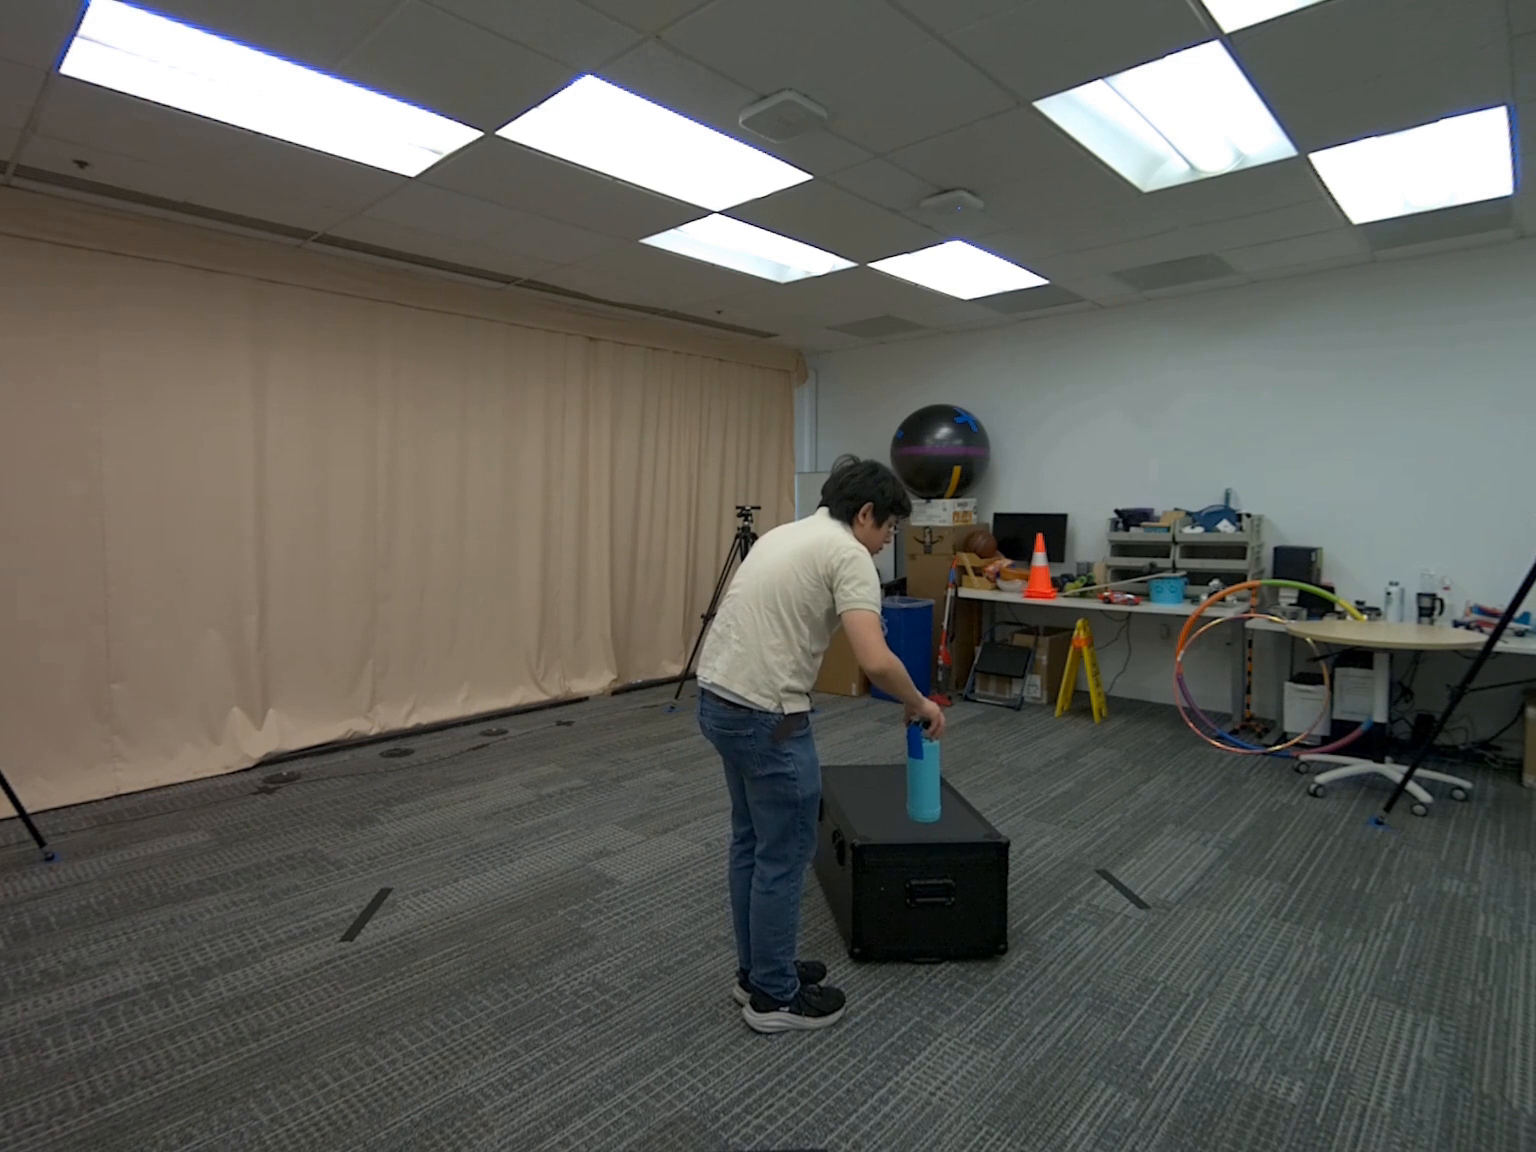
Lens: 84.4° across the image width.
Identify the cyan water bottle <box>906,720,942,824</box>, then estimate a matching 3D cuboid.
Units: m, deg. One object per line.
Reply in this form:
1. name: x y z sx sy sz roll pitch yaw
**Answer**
1. cyan water bottle: 0.432 0.516 2.293 0.092 0.283 0.092 -2 3 -2
